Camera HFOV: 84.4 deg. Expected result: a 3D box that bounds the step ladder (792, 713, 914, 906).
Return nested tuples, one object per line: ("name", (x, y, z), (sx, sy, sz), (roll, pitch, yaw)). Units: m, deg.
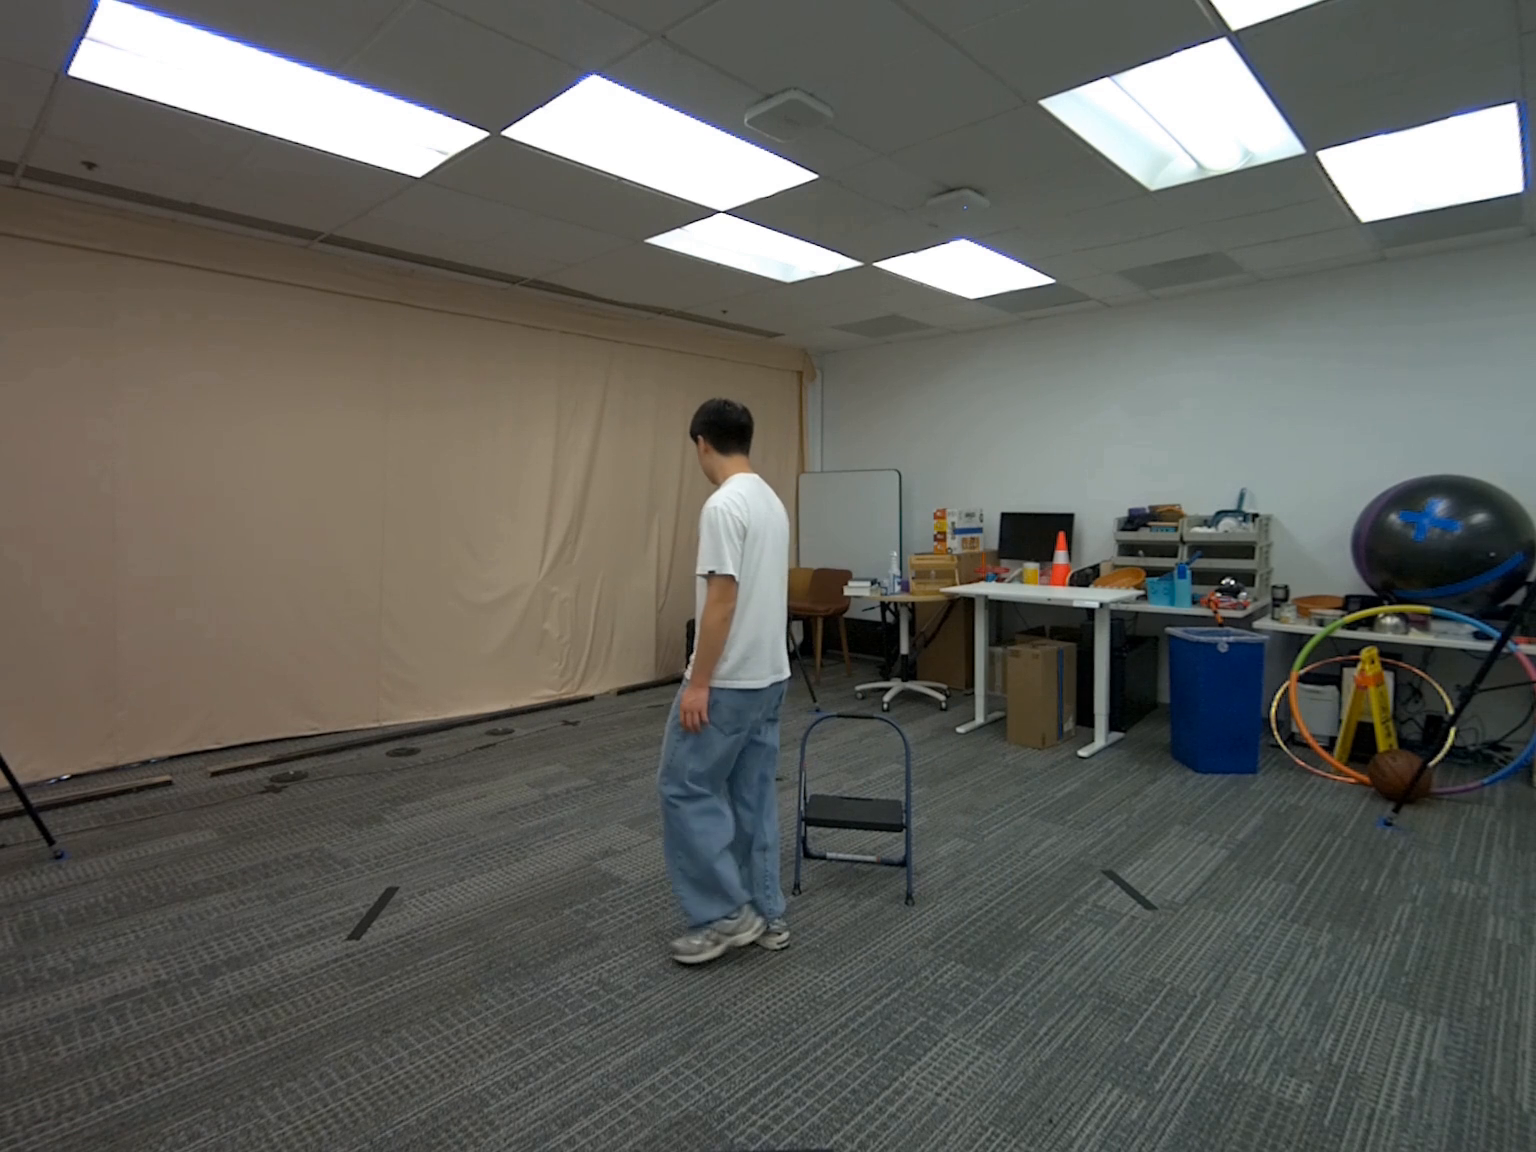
("step ladder", (0.328, 0.827, 3.126), (0.435, 0.605, 0.346), (1, 3, 10))
